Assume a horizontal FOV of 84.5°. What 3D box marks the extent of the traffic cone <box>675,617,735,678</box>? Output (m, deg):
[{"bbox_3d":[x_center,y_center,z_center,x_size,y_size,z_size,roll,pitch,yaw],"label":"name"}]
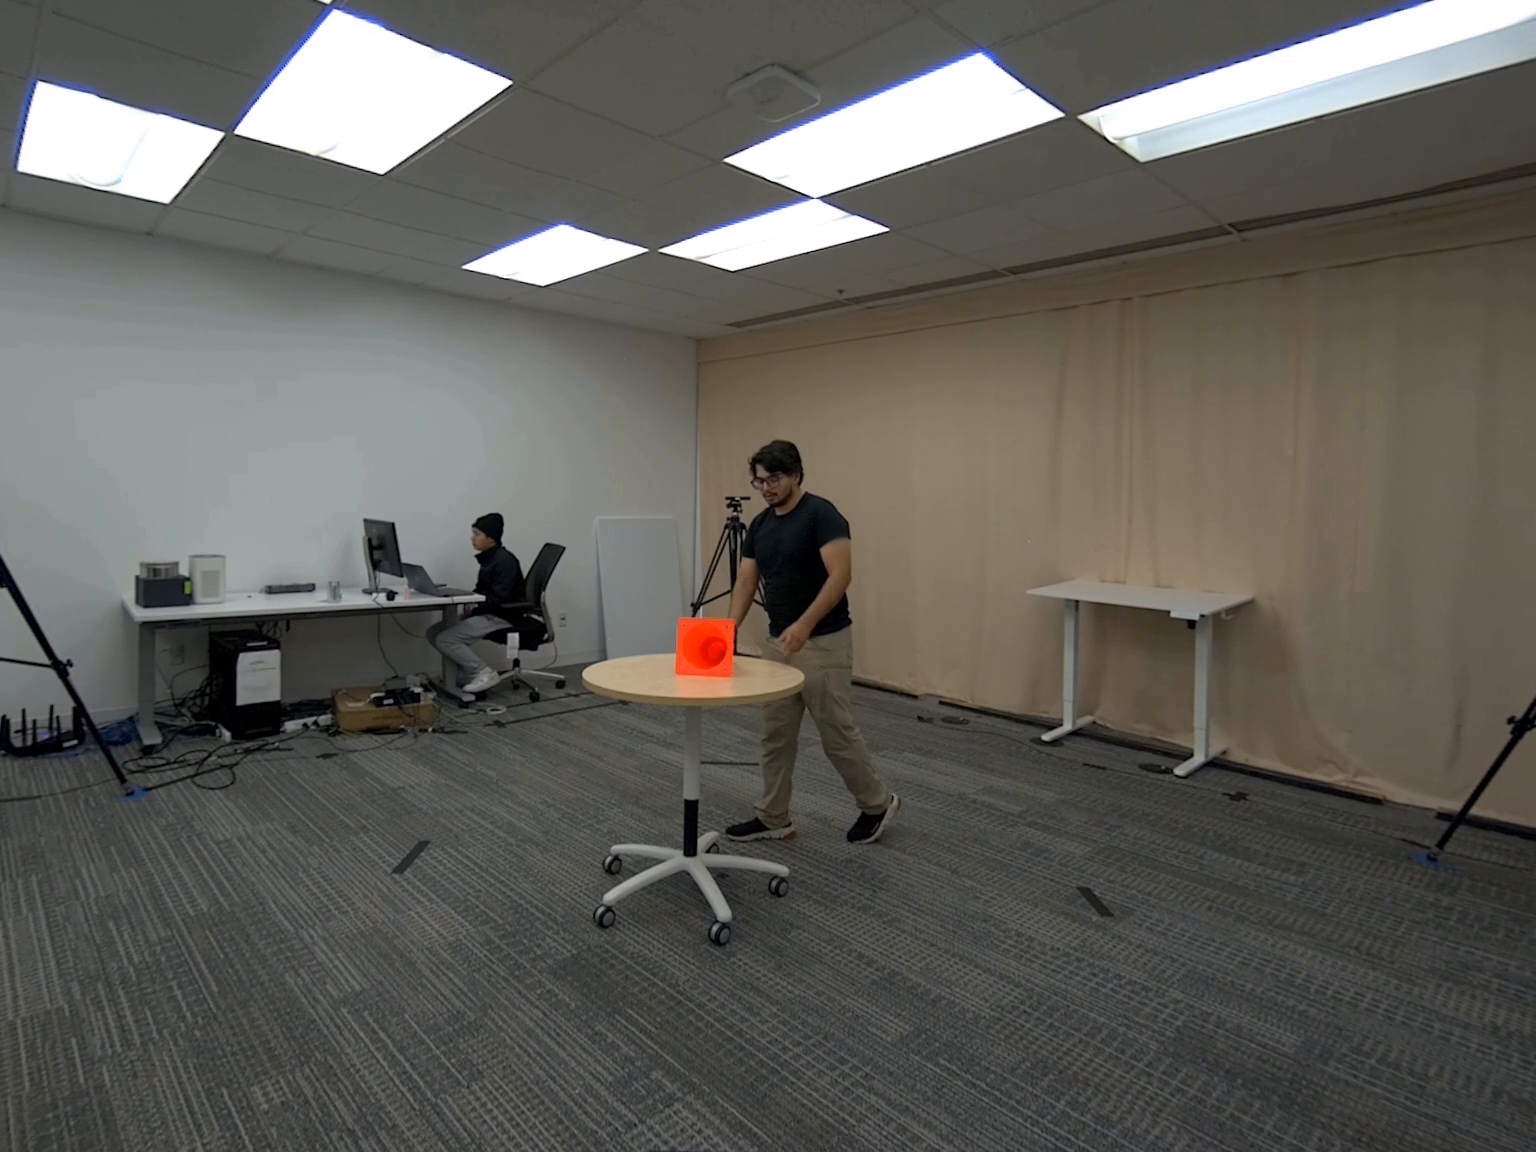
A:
[{"bbox_3d":[-0.207,0.283,3.066,0.205,0.205,0.379,-4,-10,2],"label":"traffic cone"}]
